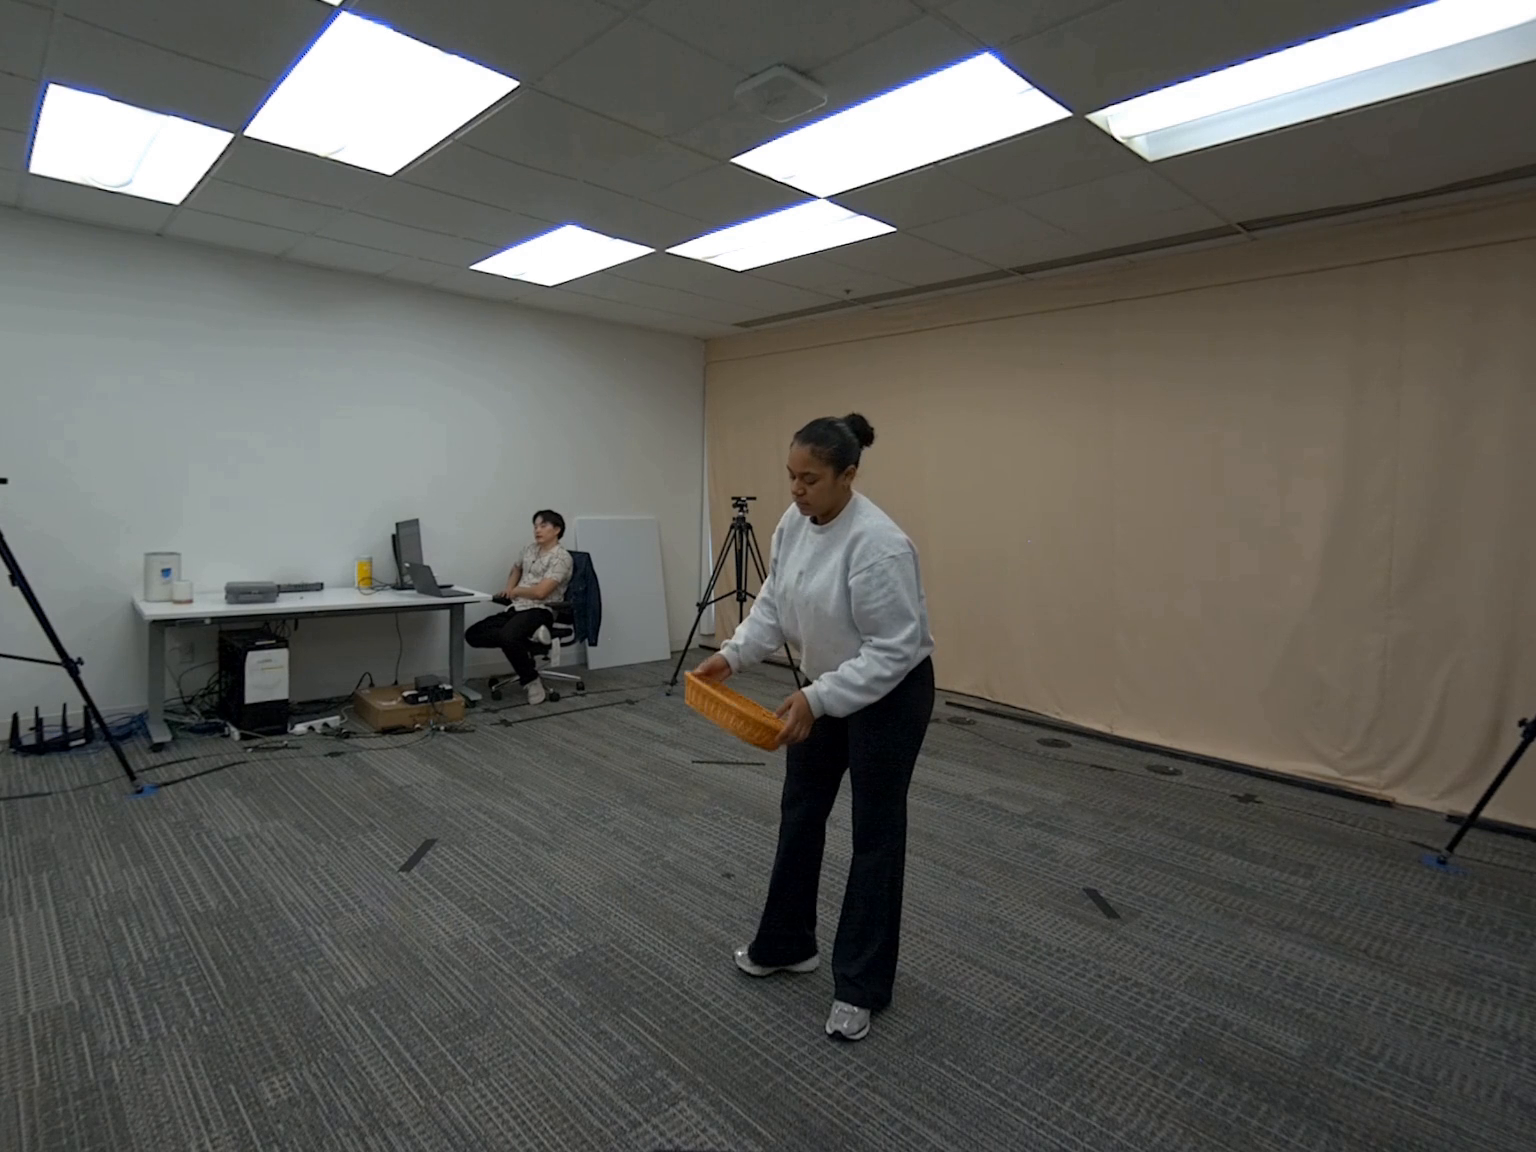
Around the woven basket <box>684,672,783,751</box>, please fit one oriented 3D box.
[{"bbox_3d":[-0.075,0.360,2.151,0.361,0.073,0.244,24,-3,41],"label":"woven basket"}]
